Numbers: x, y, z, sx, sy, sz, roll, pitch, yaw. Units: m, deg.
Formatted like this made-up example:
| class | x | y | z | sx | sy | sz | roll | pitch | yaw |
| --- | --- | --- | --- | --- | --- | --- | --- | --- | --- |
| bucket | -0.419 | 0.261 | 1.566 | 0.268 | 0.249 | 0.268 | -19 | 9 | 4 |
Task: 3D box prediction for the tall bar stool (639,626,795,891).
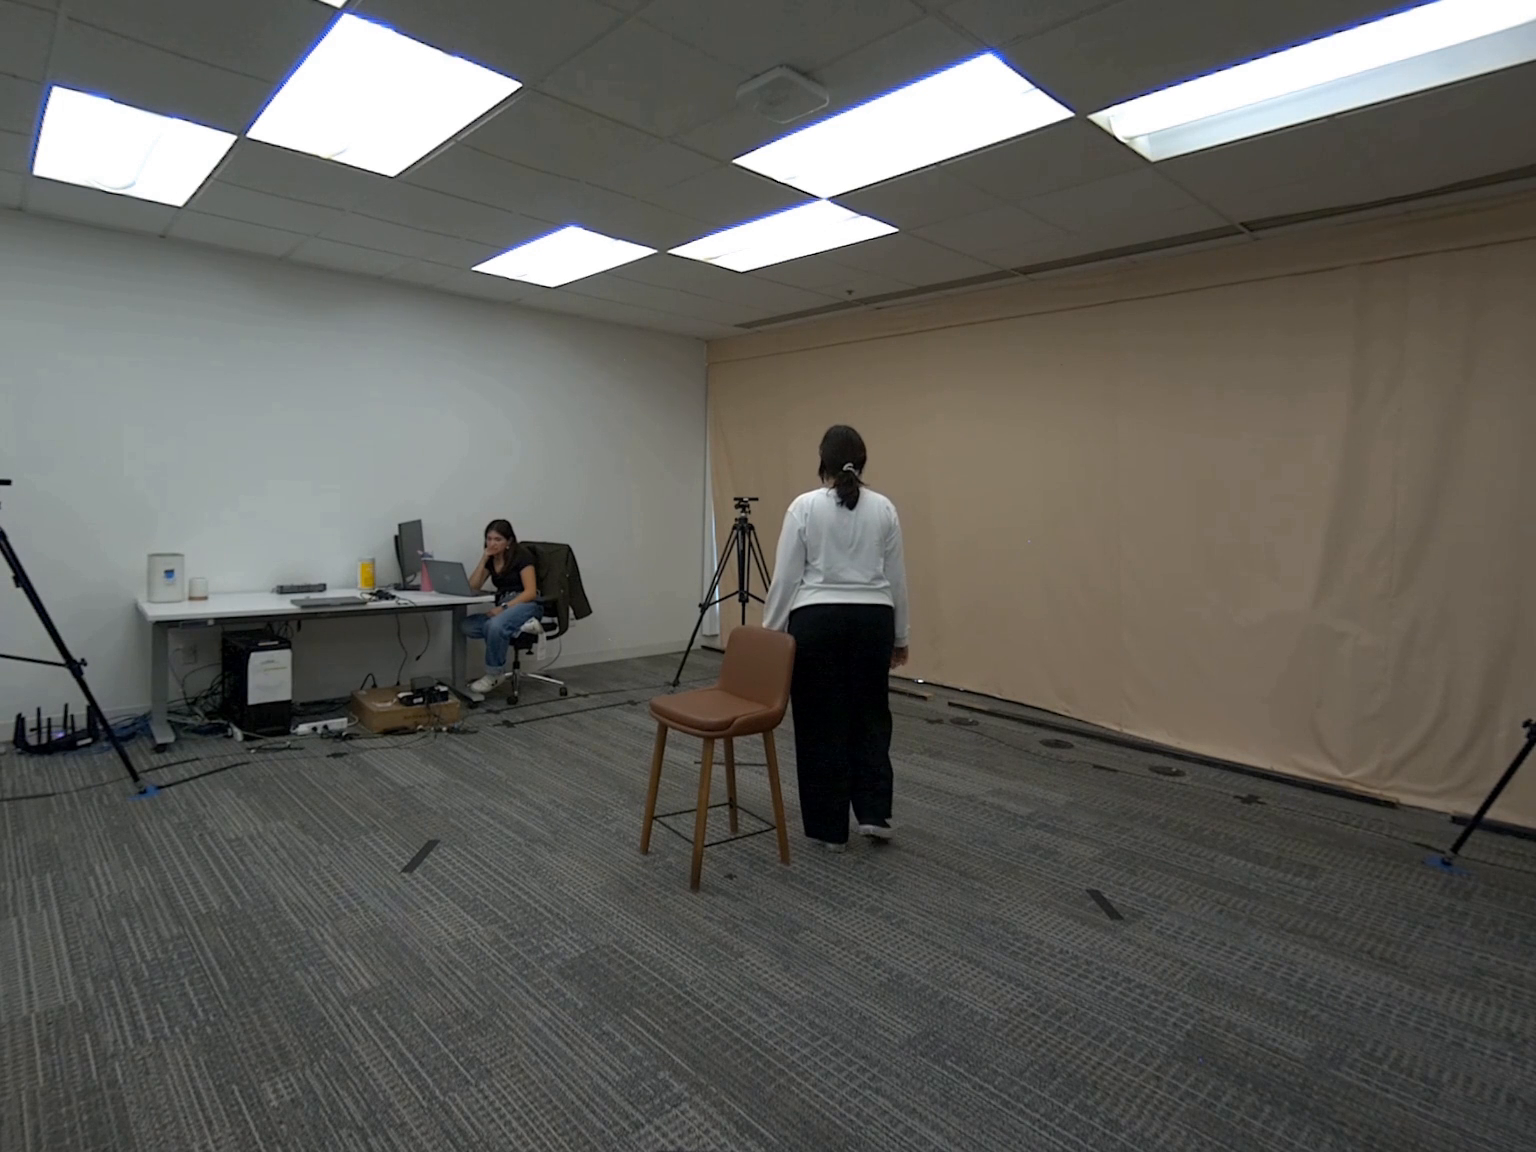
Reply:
| class | x | y | z | sx | sy | sz | roll | pitch | yaw |
| --- | --- | --- | --- | --- | --- | --- | --- | --- | --- |
| tall bar stool | -0.193 | 0.657 | 3.236 | 0.457 | 0.889 | 0.467 | 2 | 2 | -36 |
